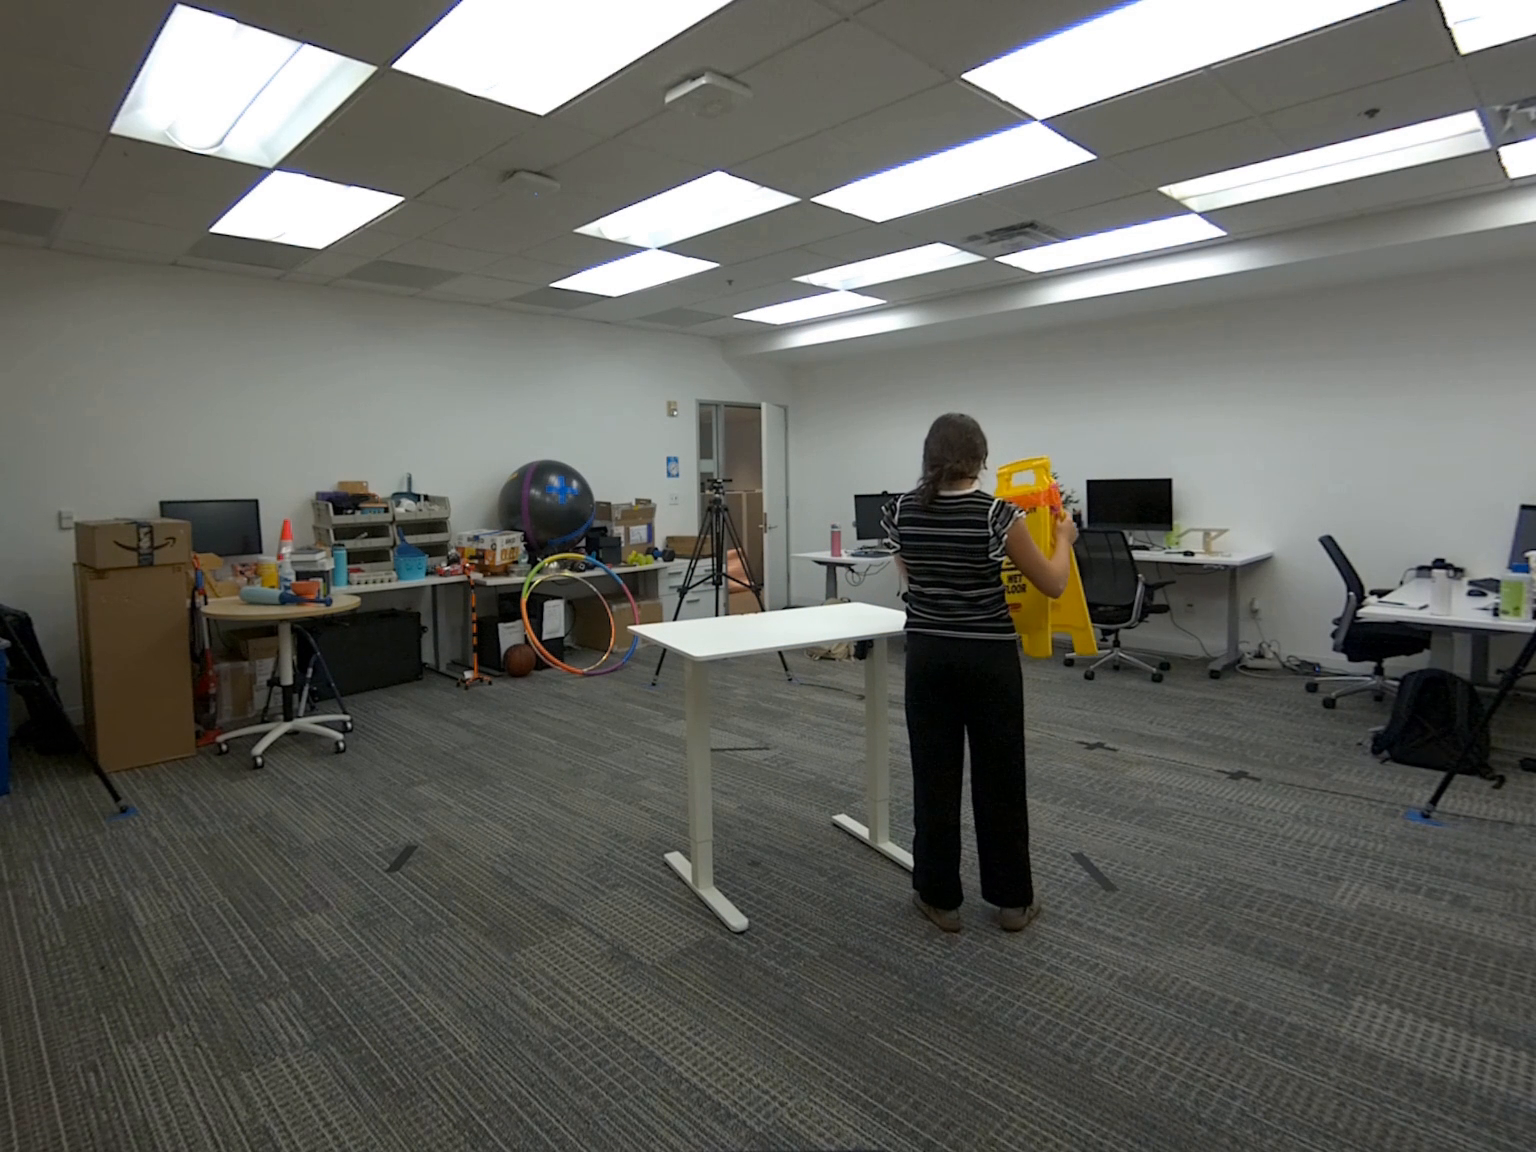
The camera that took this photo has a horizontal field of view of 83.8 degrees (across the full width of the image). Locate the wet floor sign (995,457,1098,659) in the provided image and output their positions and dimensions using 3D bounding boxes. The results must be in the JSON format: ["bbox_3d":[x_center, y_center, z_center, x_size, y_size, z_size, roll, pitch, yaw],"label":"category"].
[{"bbox_3d":[0.867,-0.060,2.822,0.282,0.651,0.288,2,-9,-33],"label":"wet floor sign"}]
